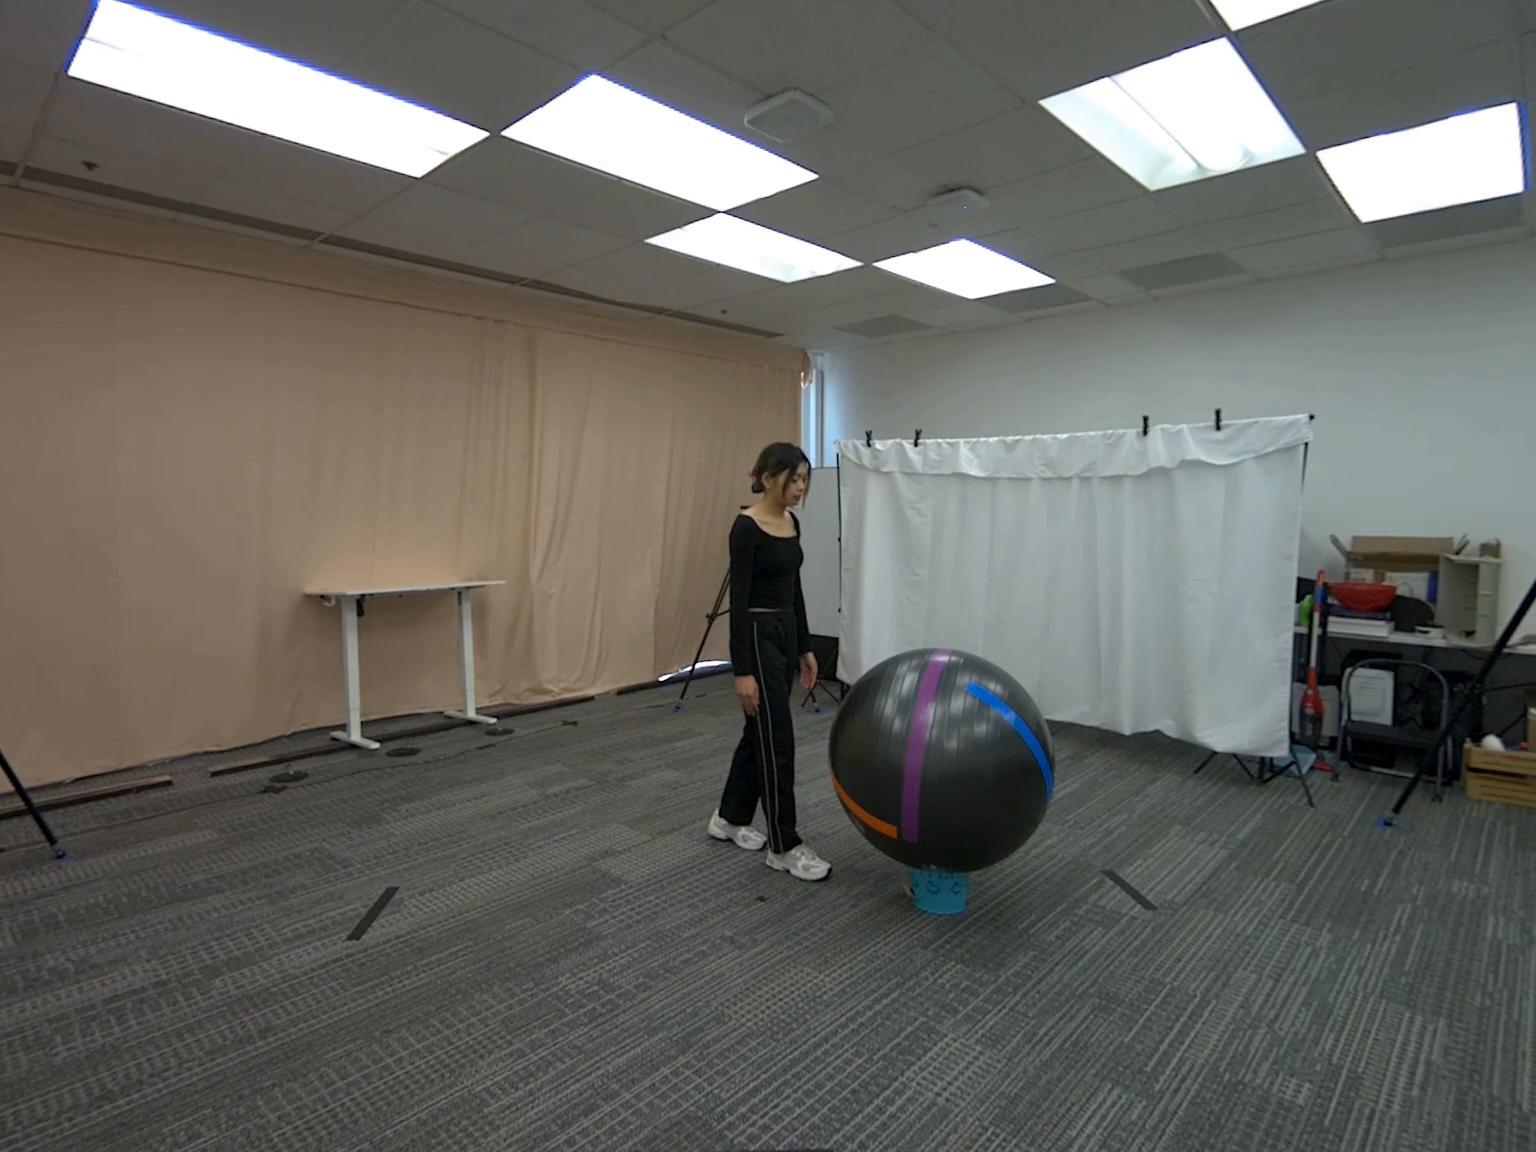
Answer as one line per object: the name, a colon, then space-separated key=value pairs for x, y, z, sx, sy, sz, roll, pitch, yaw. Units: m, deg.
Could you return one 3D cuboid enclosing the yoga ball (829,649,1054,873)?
yoga ball: x=0.604 y=0.642 z=2.932 sx=0.757 sy=0.756 sz=0.760 roll=0 pitch=4 yaw=-2
